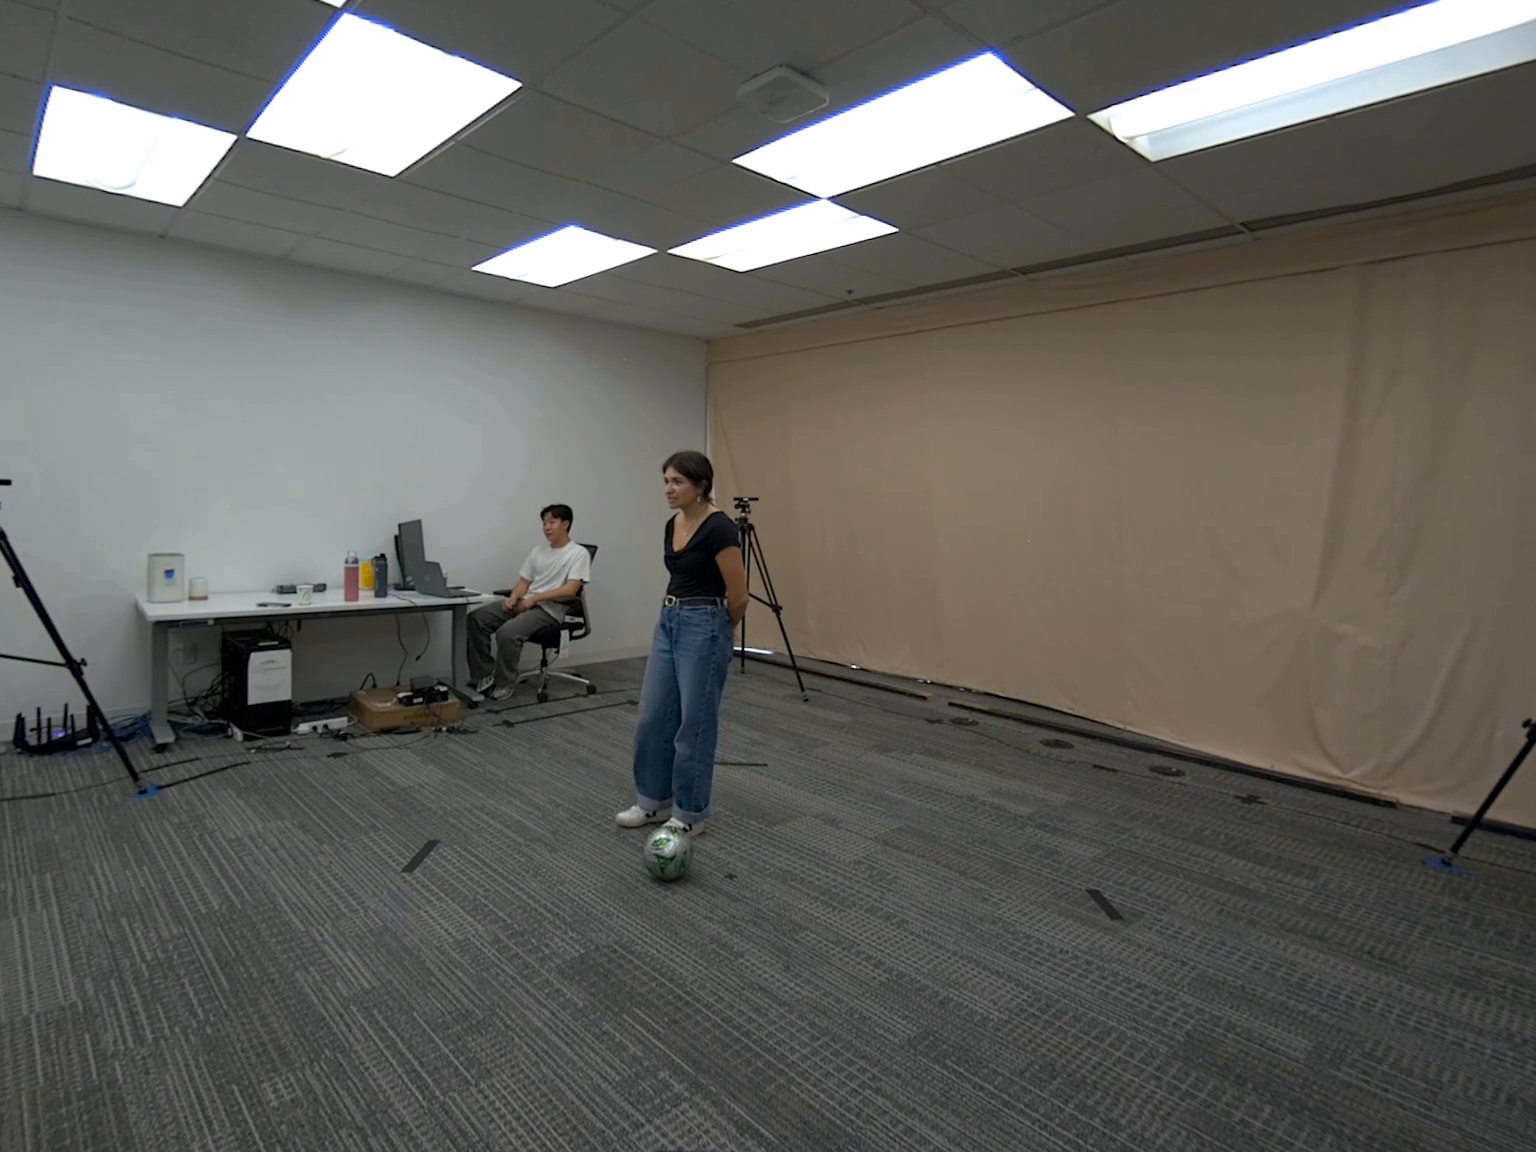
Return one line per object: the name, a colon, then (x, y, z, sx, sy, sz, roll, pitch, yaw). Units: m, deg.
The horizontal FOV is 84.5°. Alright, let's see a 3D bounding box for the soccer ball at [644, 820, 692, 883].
soccer ball: (-0.375, 1.015, 3.069, 0.187, 0.187, 0.188, 1, 4, -1)
